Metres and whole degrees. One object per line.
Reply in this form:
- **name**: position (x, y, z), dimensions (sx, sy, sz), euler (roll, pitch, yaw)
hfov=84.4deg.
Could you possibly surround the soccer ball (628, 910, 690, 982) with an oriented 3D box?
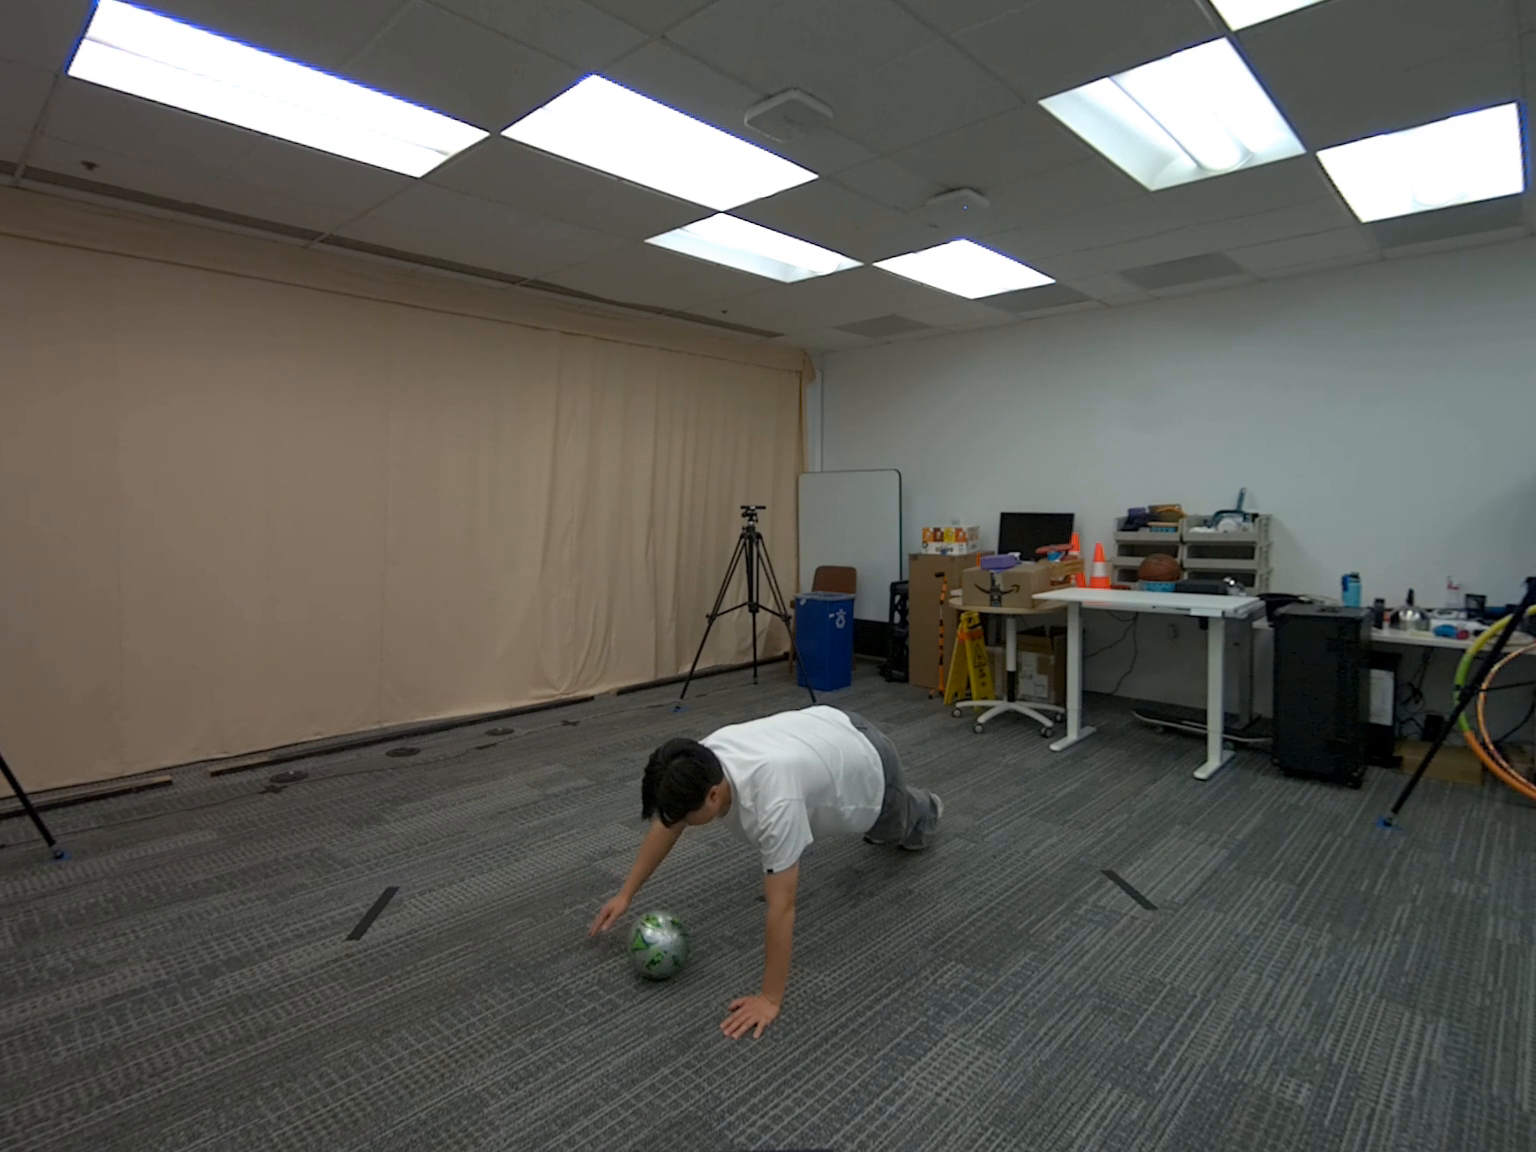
- **soccer ball**: position (-0.323, 1.095, 2.498), dimensions (0.187, 0.187, 0.188), euler (0, 4, -2)
